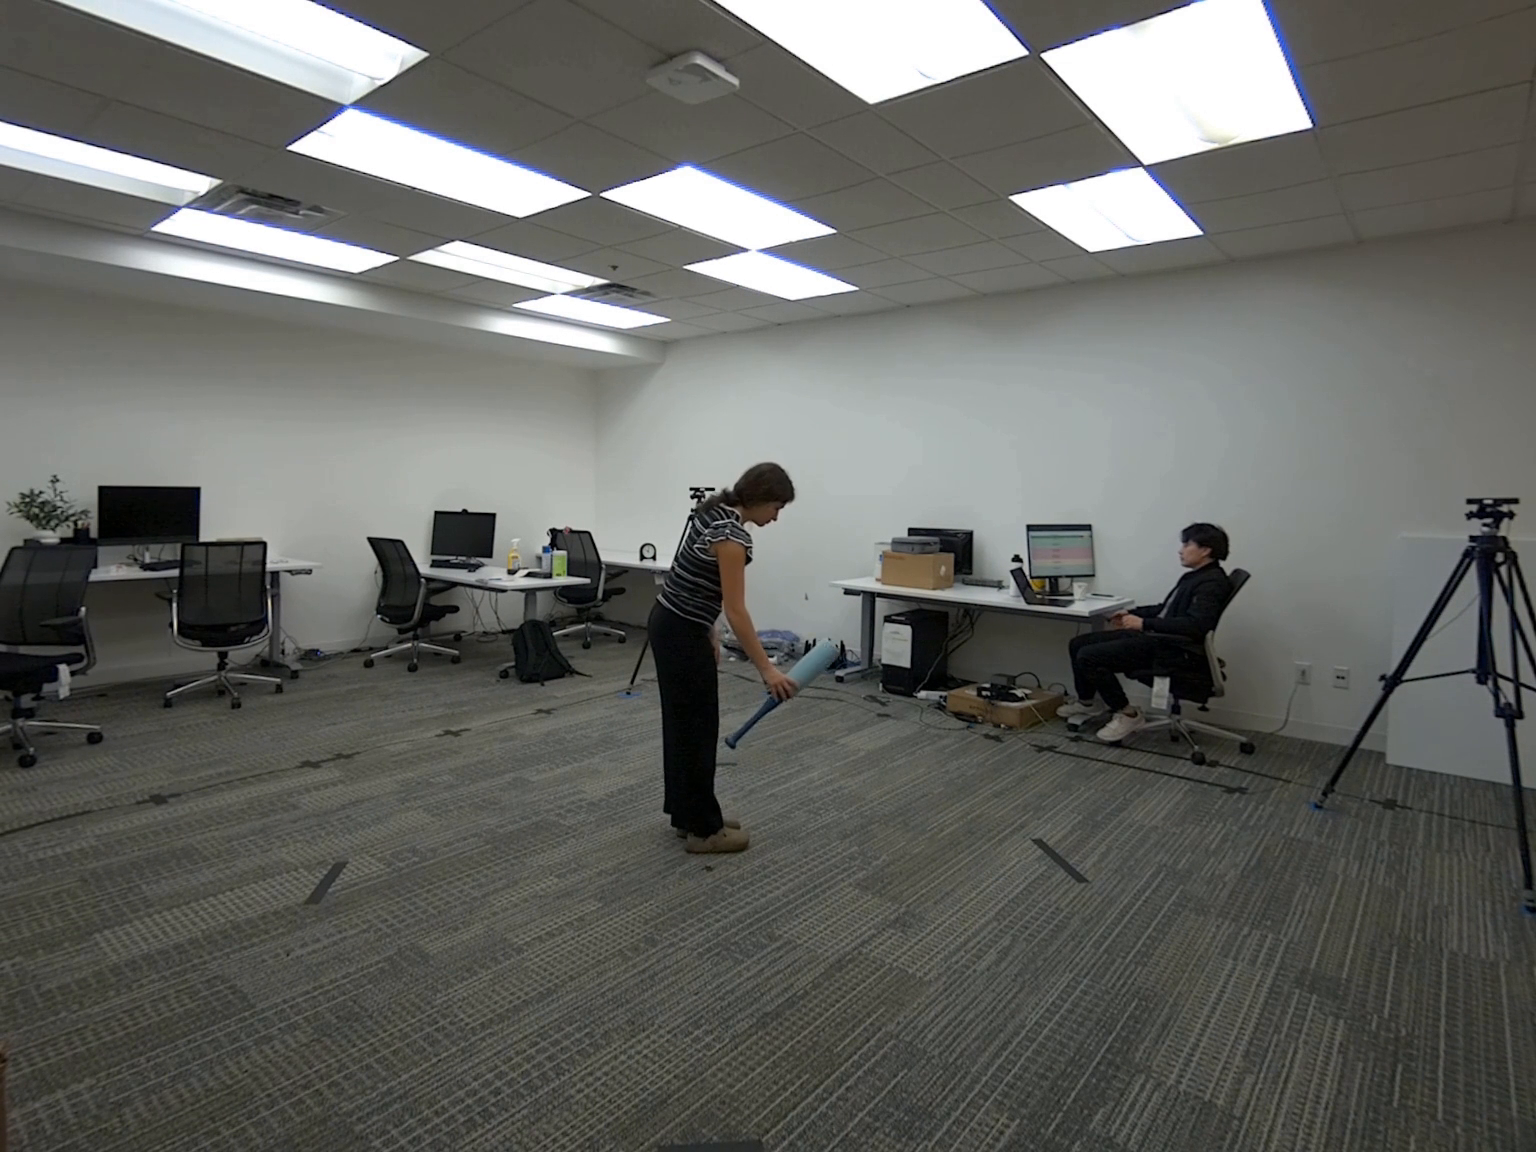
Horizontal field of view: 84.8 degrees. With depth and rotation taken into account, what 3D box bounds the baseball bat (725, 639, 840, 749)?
[{"bbox_3d":[0.032,0.446,3.160,0.542,0.087,0.091,-43,14,-9],"label":"baseball bat"}]
